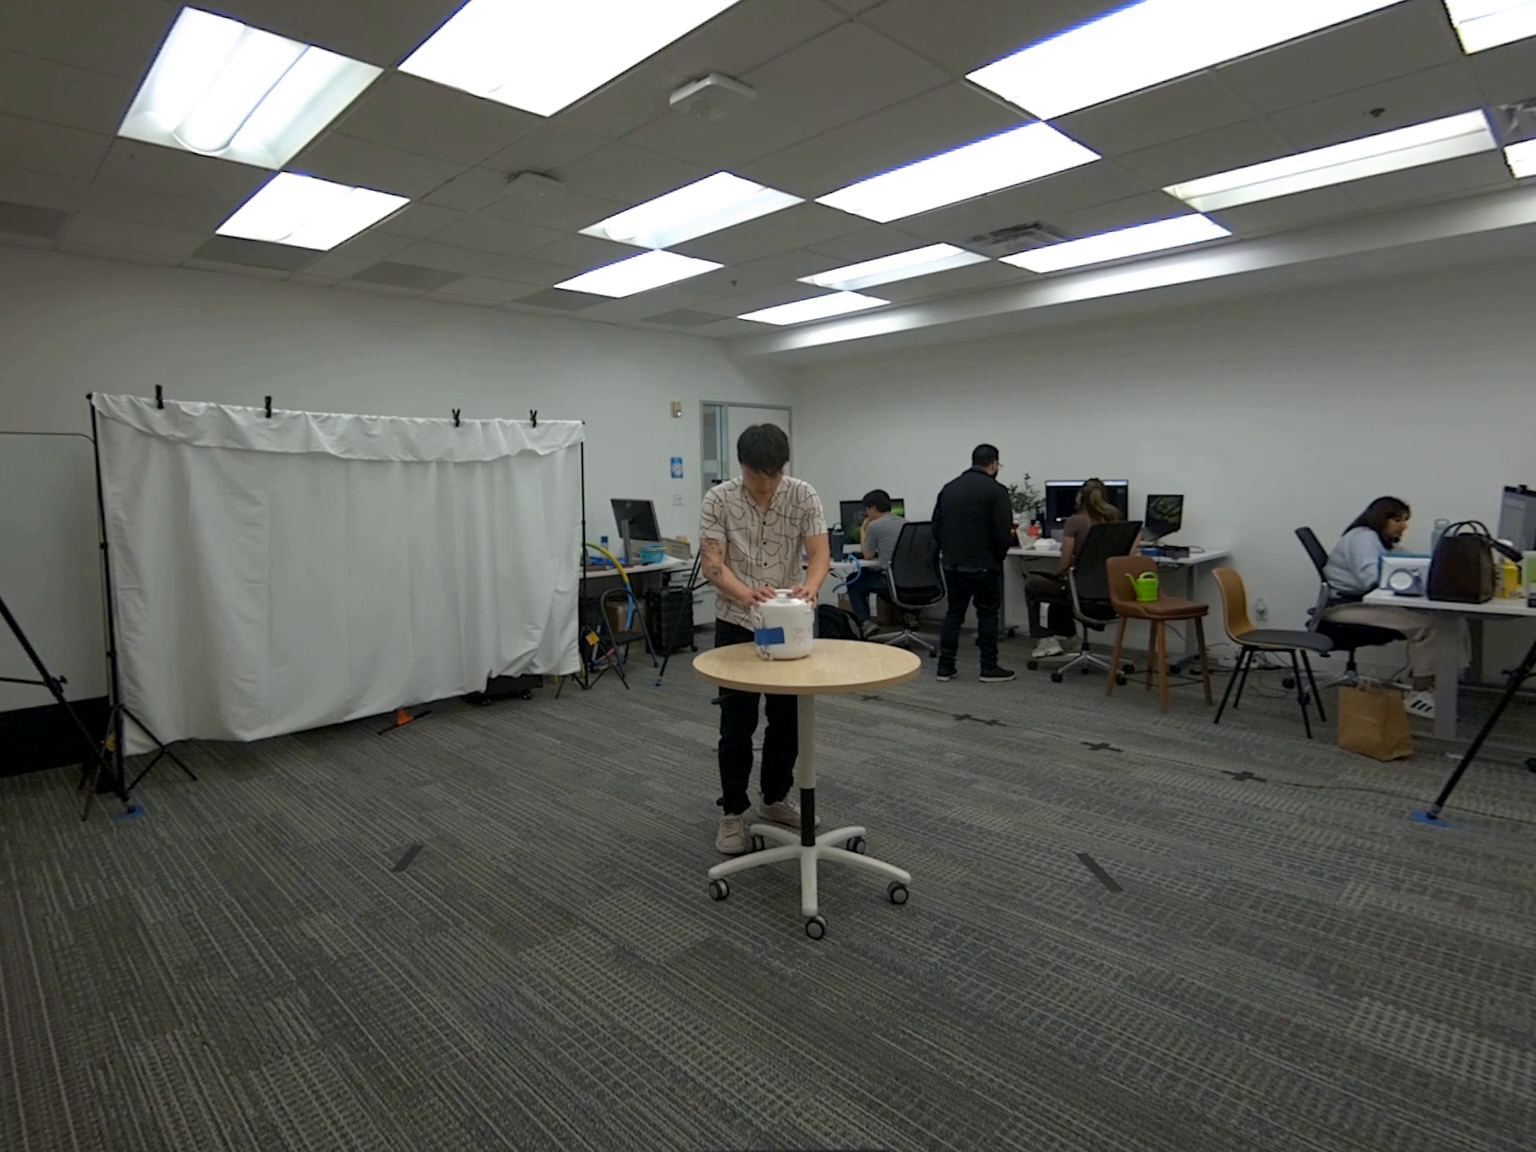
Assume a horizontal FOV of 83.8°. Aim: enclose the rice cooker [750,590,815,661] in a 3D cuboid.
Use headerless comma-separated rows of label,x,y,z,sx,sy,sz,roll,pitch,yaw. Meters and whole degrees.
rice cooker,0.046,0.166,2.977,0.220,0.232,0.218,0,5,-1
